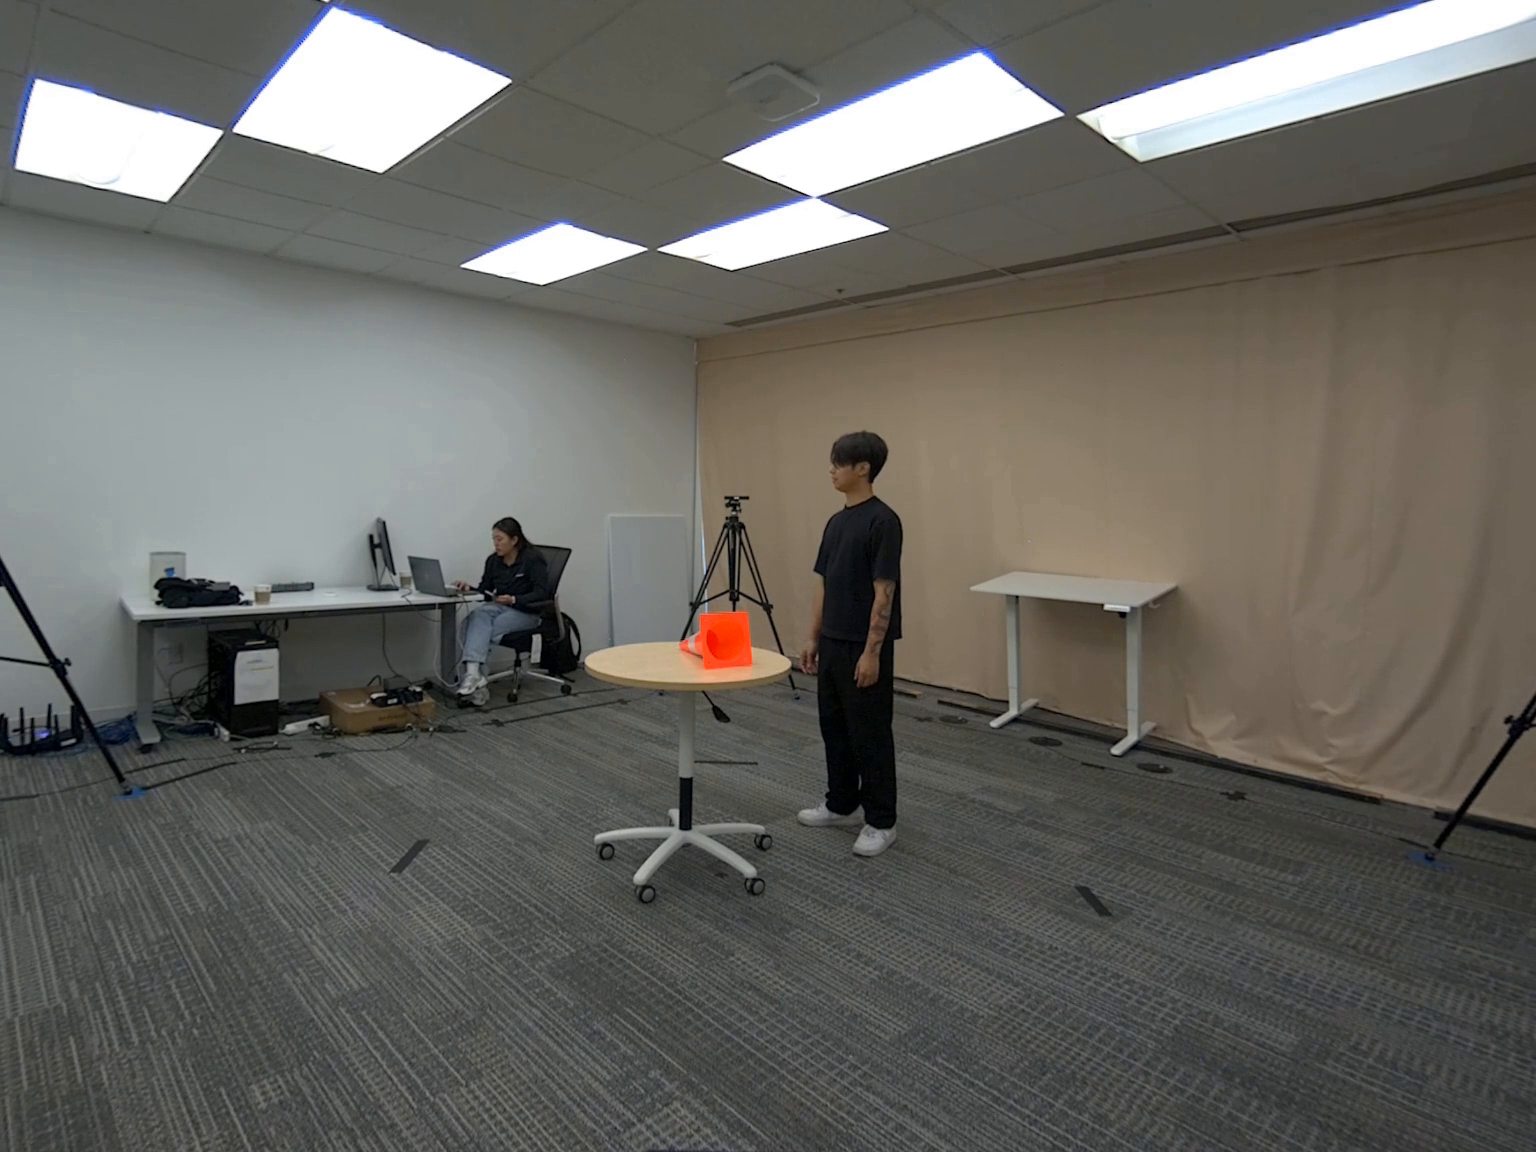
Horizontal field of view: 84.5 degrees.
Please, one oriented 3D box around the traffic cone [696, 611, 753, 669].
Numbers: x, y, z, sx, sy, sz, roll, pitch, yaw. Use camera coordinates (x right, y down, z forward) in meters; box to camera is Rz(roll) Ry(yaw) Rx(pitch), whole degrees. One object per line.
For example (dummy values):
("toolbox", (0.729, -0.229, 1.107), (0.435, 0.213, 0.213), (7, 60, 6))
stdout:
("traffic cone", (-0.252, 0.256, 3.195), (0.199, 0.206, 0.389), (0, -7, -31))
